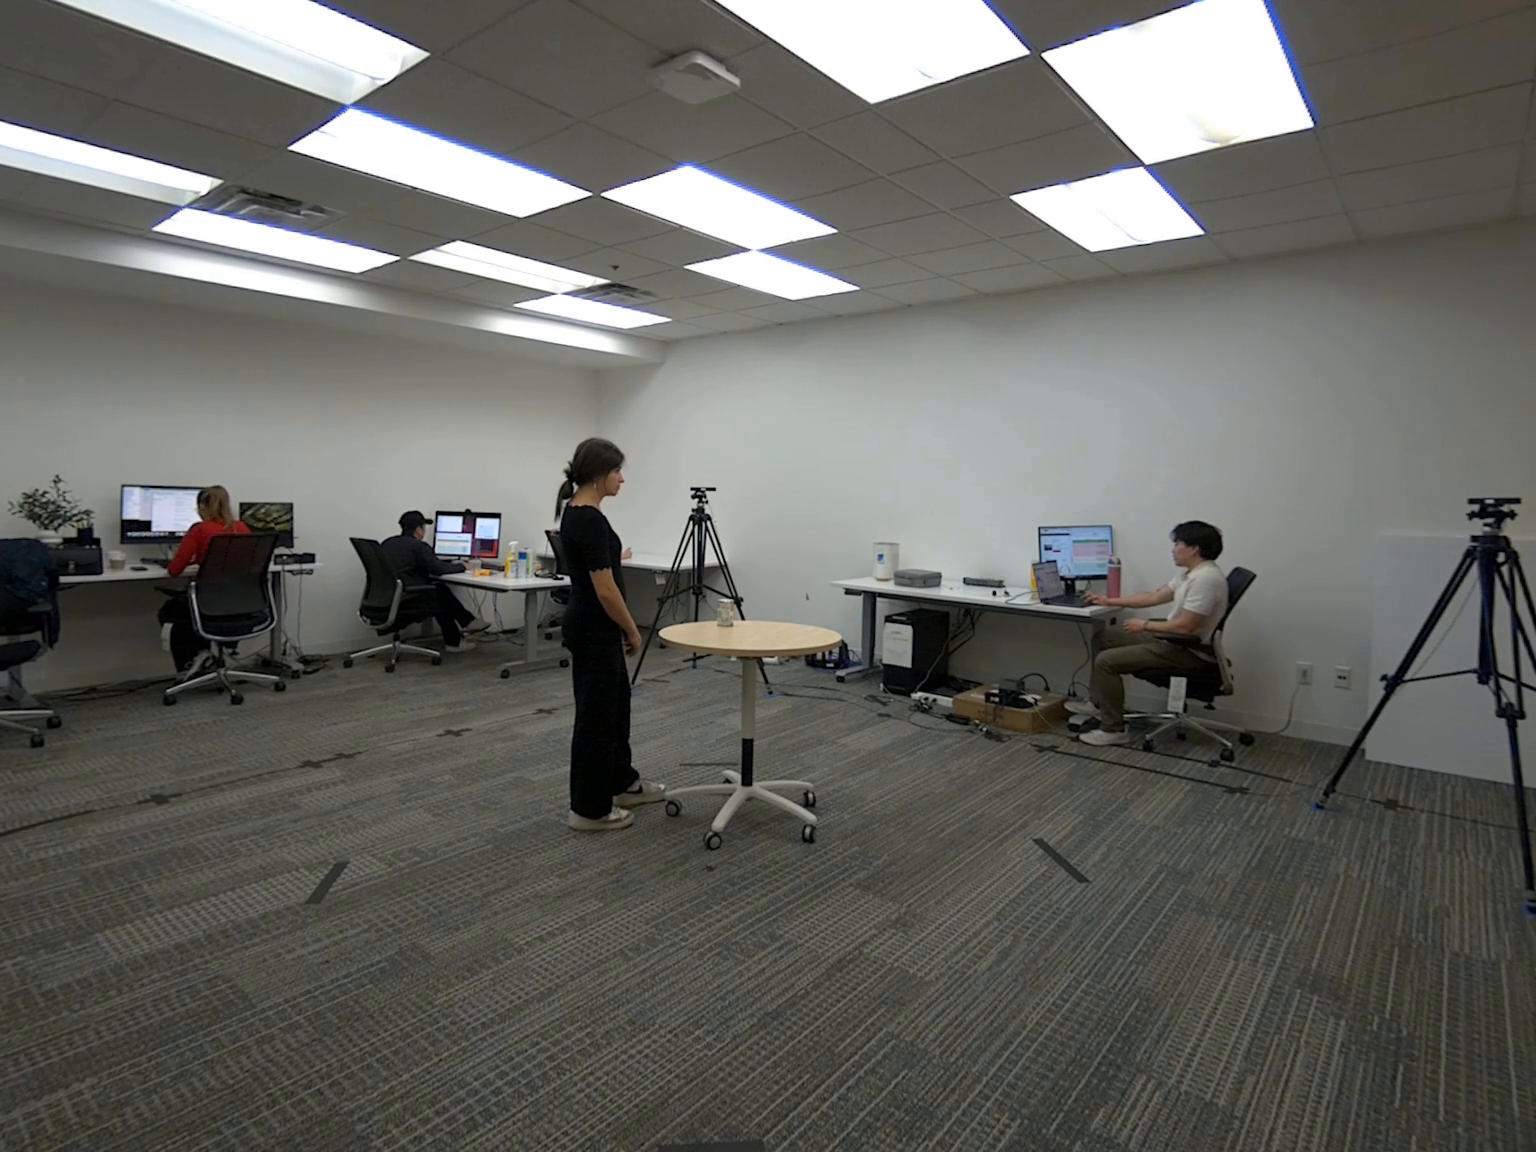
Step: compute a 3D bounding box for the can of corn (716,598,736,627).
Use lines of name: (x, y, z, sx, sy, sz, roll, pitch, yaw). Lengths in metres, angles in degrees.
can of corn: (-0.206, 0.164, 3.790, 0.074, 0.111, 0.074, 1, 3, -2)
